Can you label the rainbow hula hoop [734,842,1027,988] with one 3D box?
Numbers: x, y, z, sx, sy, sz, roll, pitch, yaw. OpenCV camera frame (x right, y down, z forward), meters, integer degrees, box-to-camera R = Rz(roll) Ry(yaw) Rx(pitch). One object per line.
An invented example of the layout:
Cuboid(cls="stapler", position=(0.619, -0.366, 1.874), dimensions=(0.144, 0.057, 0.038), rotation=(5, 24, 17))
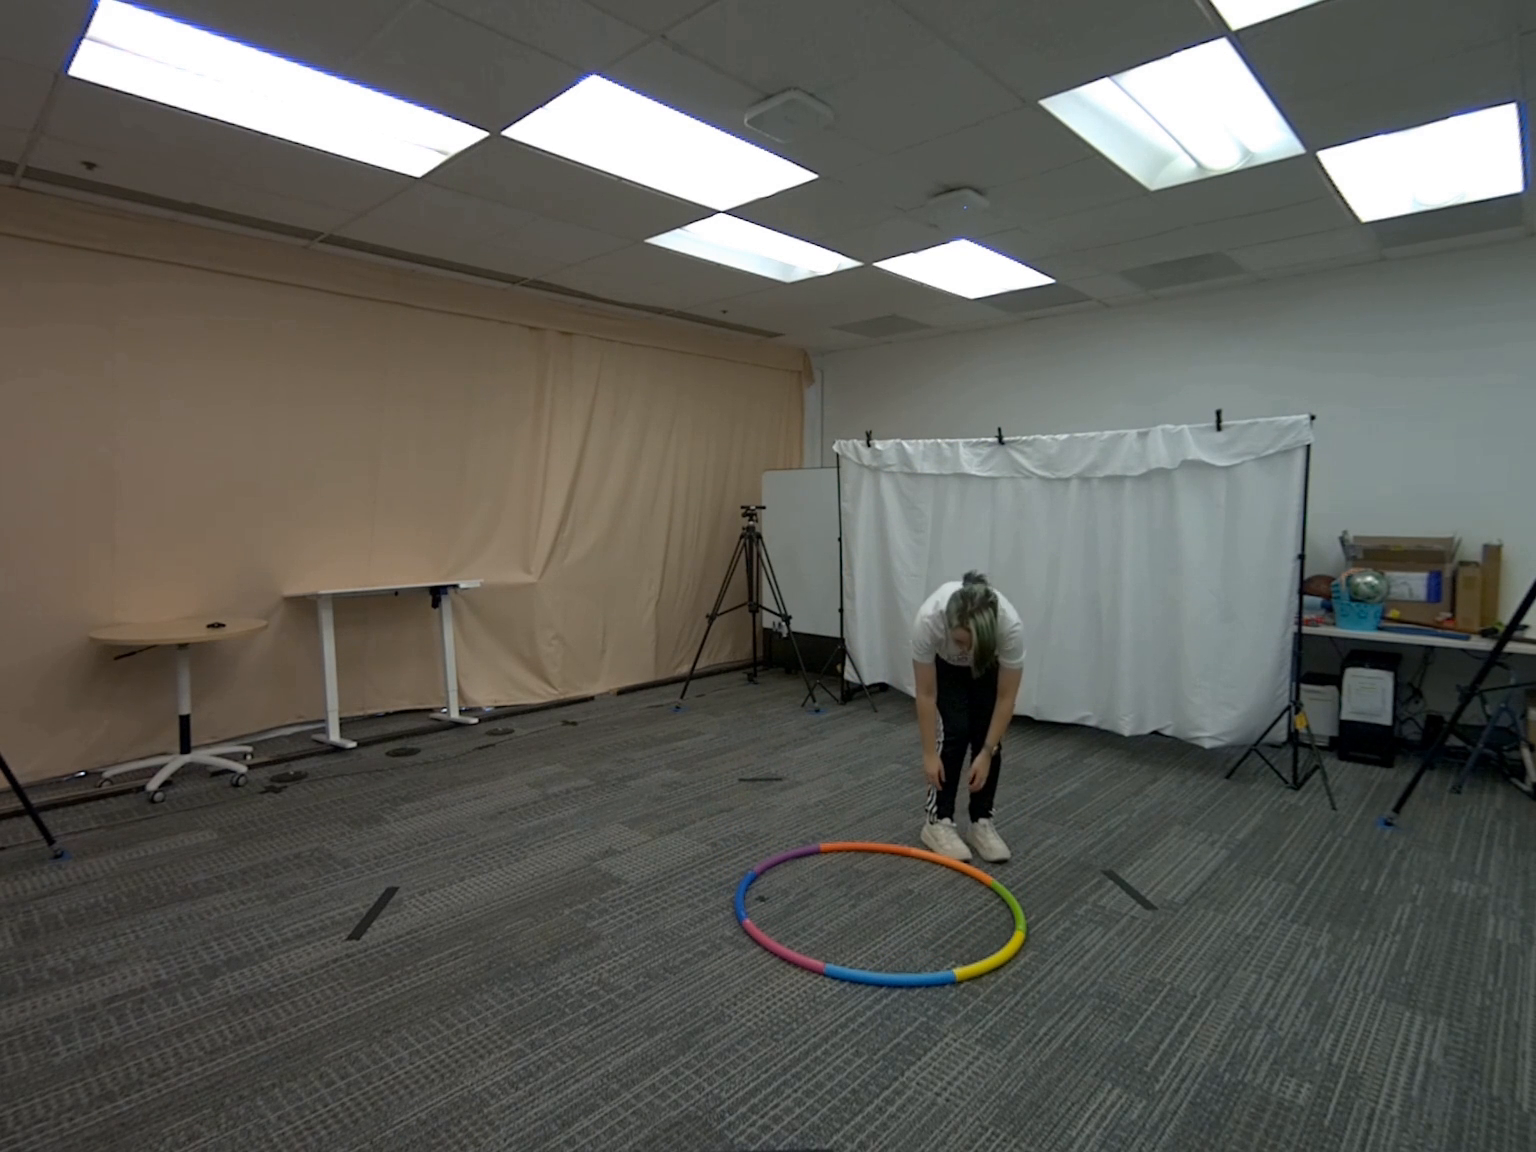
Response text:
Cuboid(cls="rainbow hula hoop", position=(0.371, 1.119, 2.917), dimensions=(0.978, 0.035, 0.982), rotation=(-1, 5, -2))
